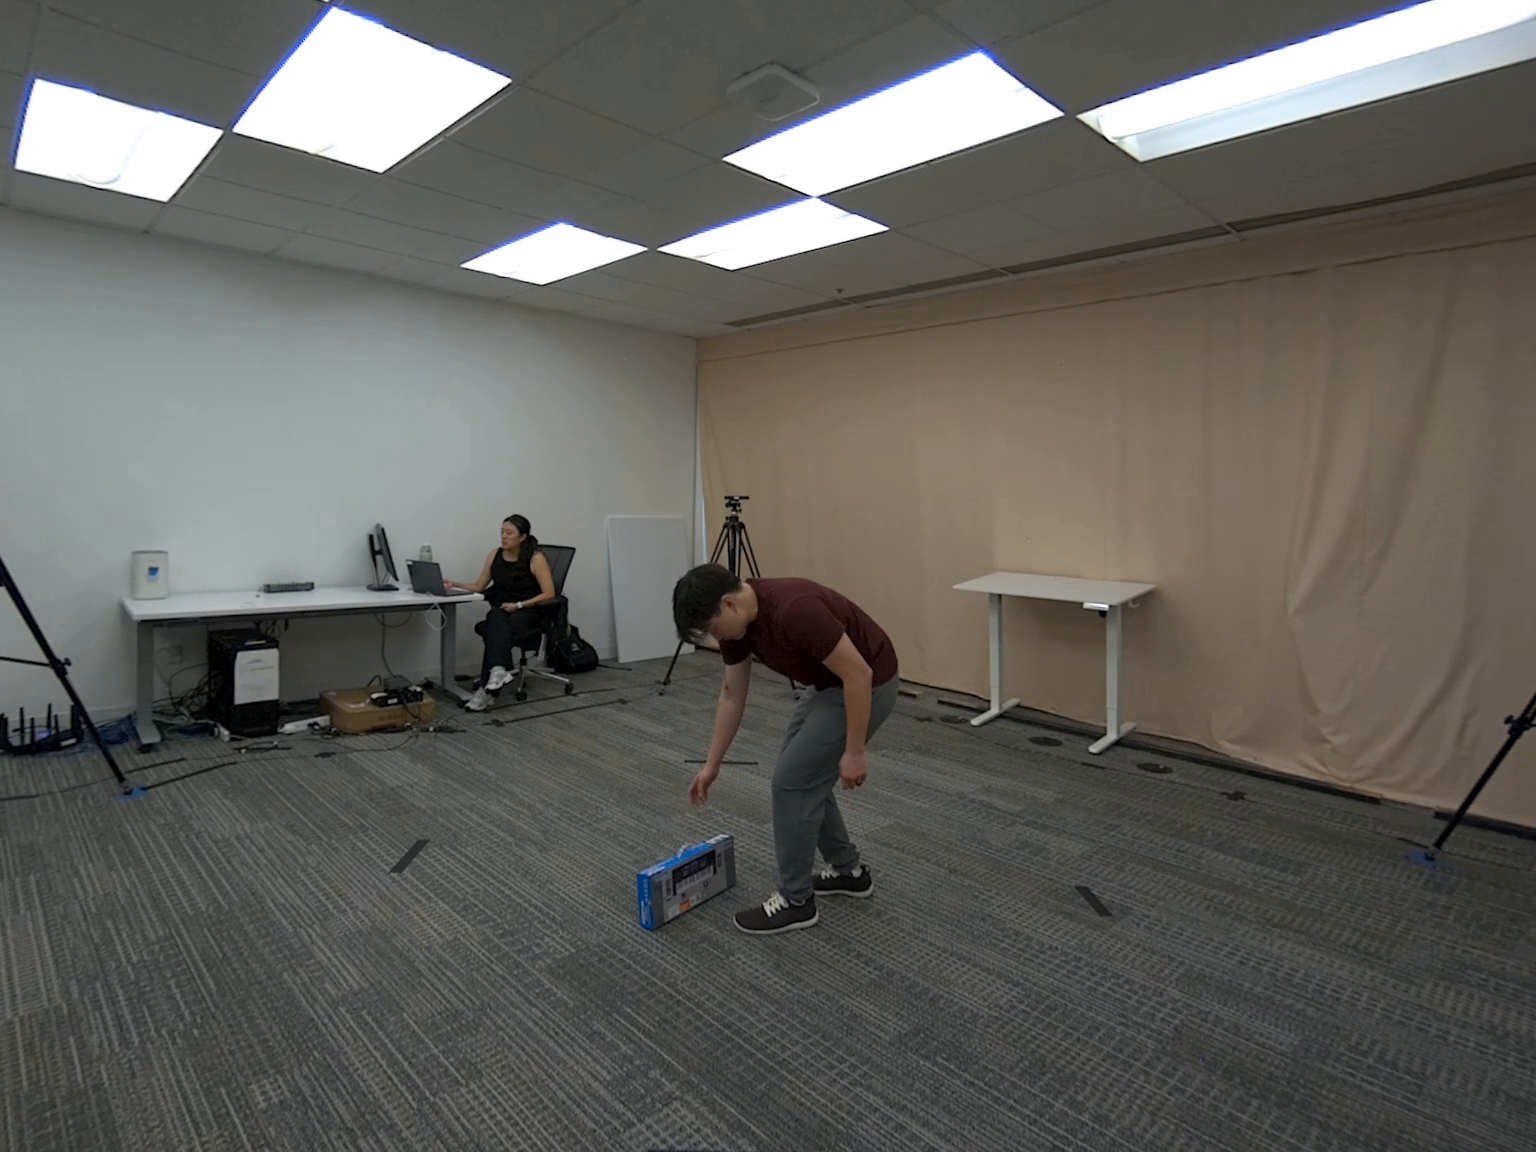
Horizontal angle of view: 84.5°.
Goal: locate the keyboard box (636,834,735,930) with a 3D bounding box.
[{"bbox_3d":[-0.270,1.032,2.873,0.060,0.176,0.427,-7,-1,37],"label":"keyboard box"}]
